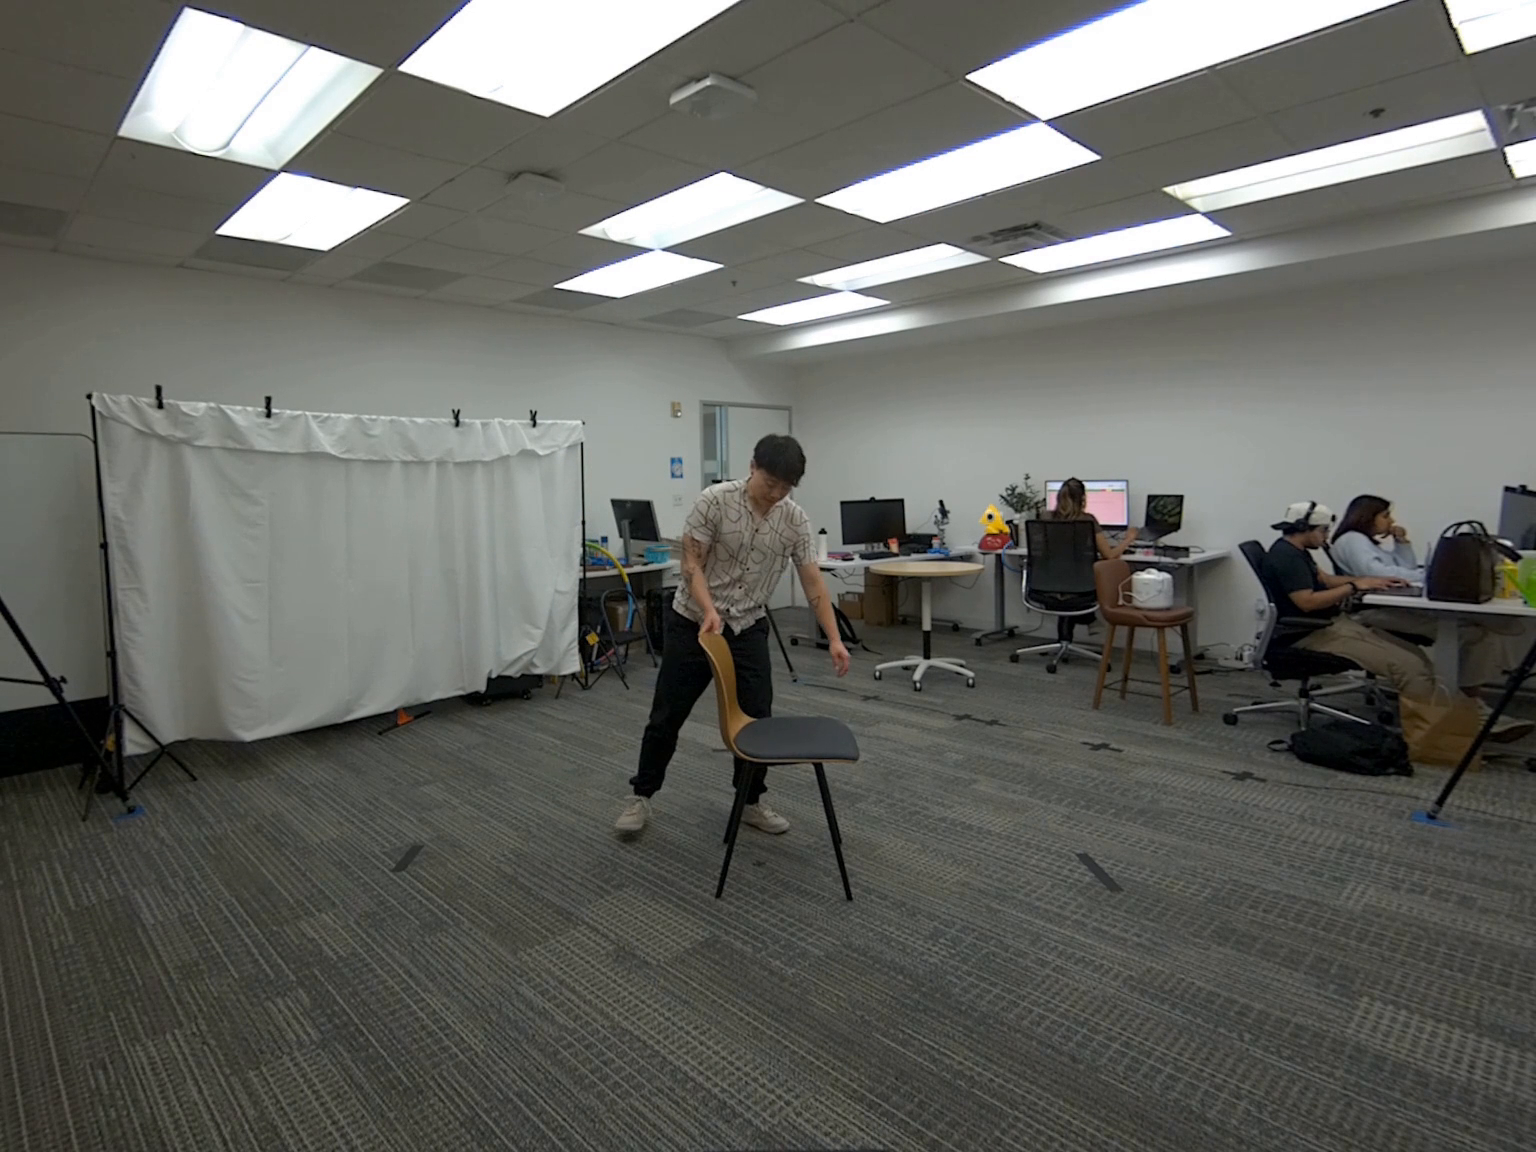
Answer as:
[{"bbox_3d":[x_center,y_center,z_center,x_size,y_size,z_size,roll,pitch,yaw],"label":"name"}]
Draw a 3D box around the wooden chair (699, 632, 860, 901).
[{"bbox_3d":[0.055,0.628,3.032,0.524,0.875,0.479,-5,3,1],"label":"wooden chair"}]
